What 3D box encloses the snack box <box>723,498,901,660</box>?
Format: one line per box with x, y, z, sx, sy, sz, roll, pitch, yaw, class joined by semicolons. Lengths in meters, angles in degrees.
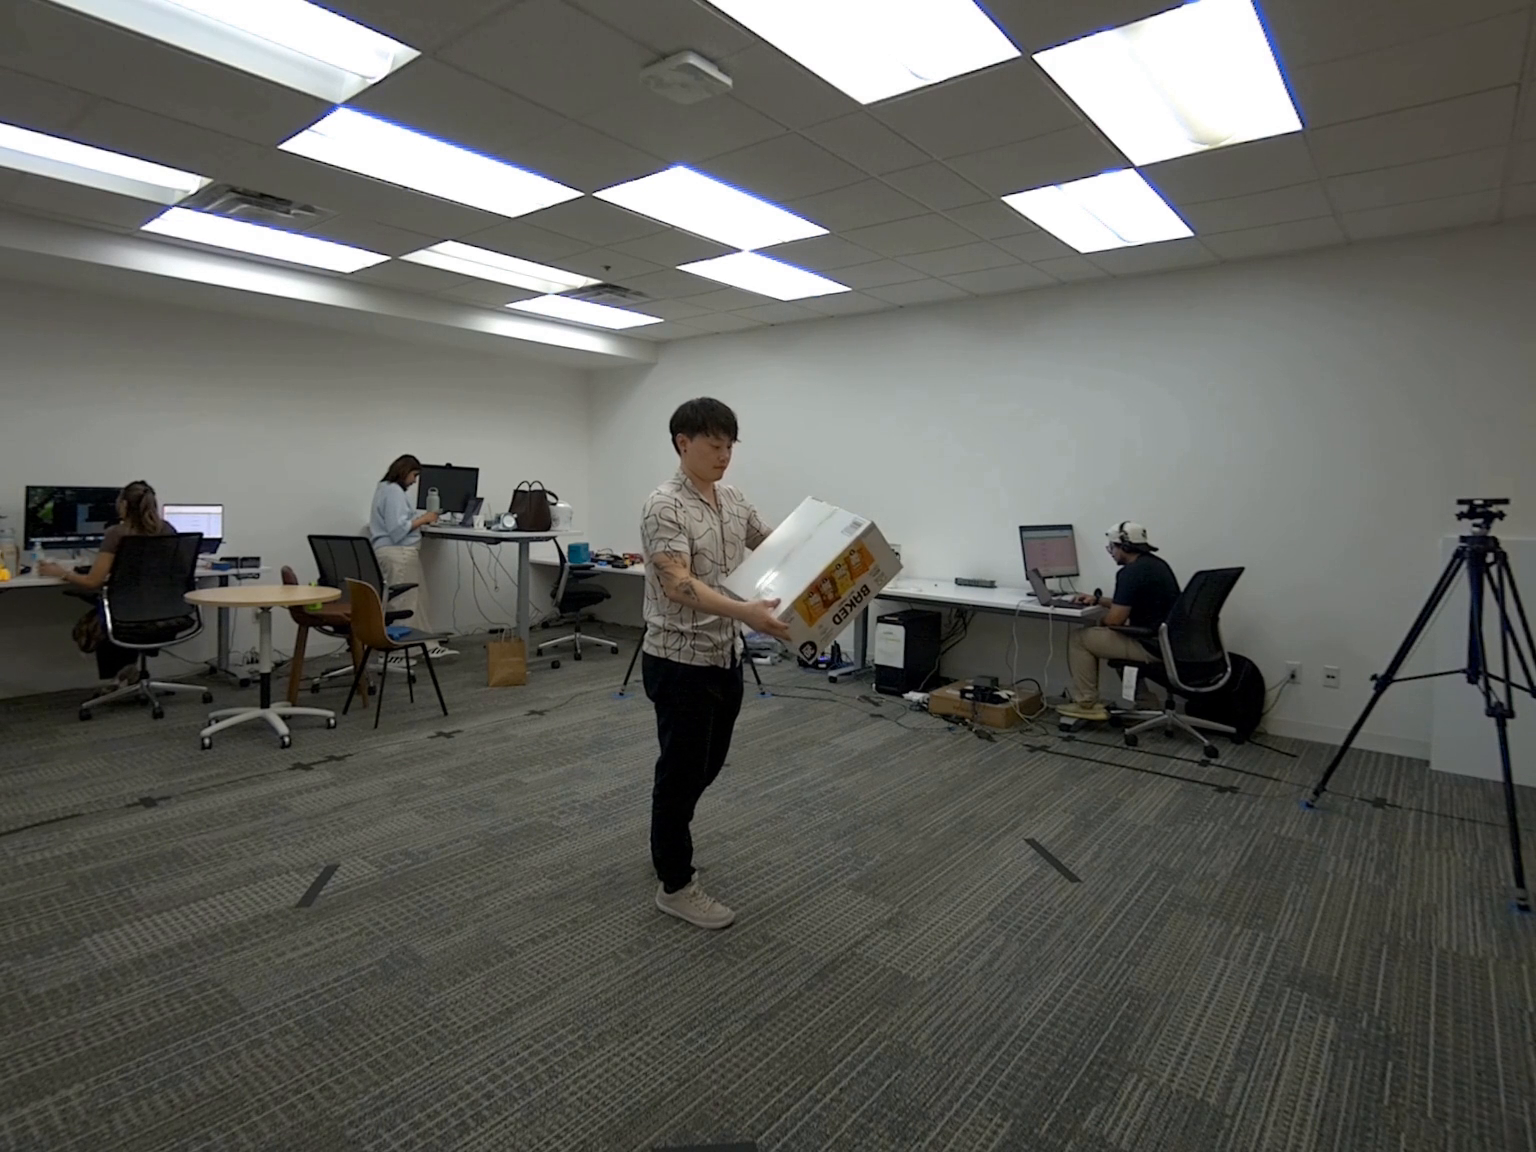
0.118;-0.003;2.570;0.198;0.405;0.353;51;-12;-32;snack box
